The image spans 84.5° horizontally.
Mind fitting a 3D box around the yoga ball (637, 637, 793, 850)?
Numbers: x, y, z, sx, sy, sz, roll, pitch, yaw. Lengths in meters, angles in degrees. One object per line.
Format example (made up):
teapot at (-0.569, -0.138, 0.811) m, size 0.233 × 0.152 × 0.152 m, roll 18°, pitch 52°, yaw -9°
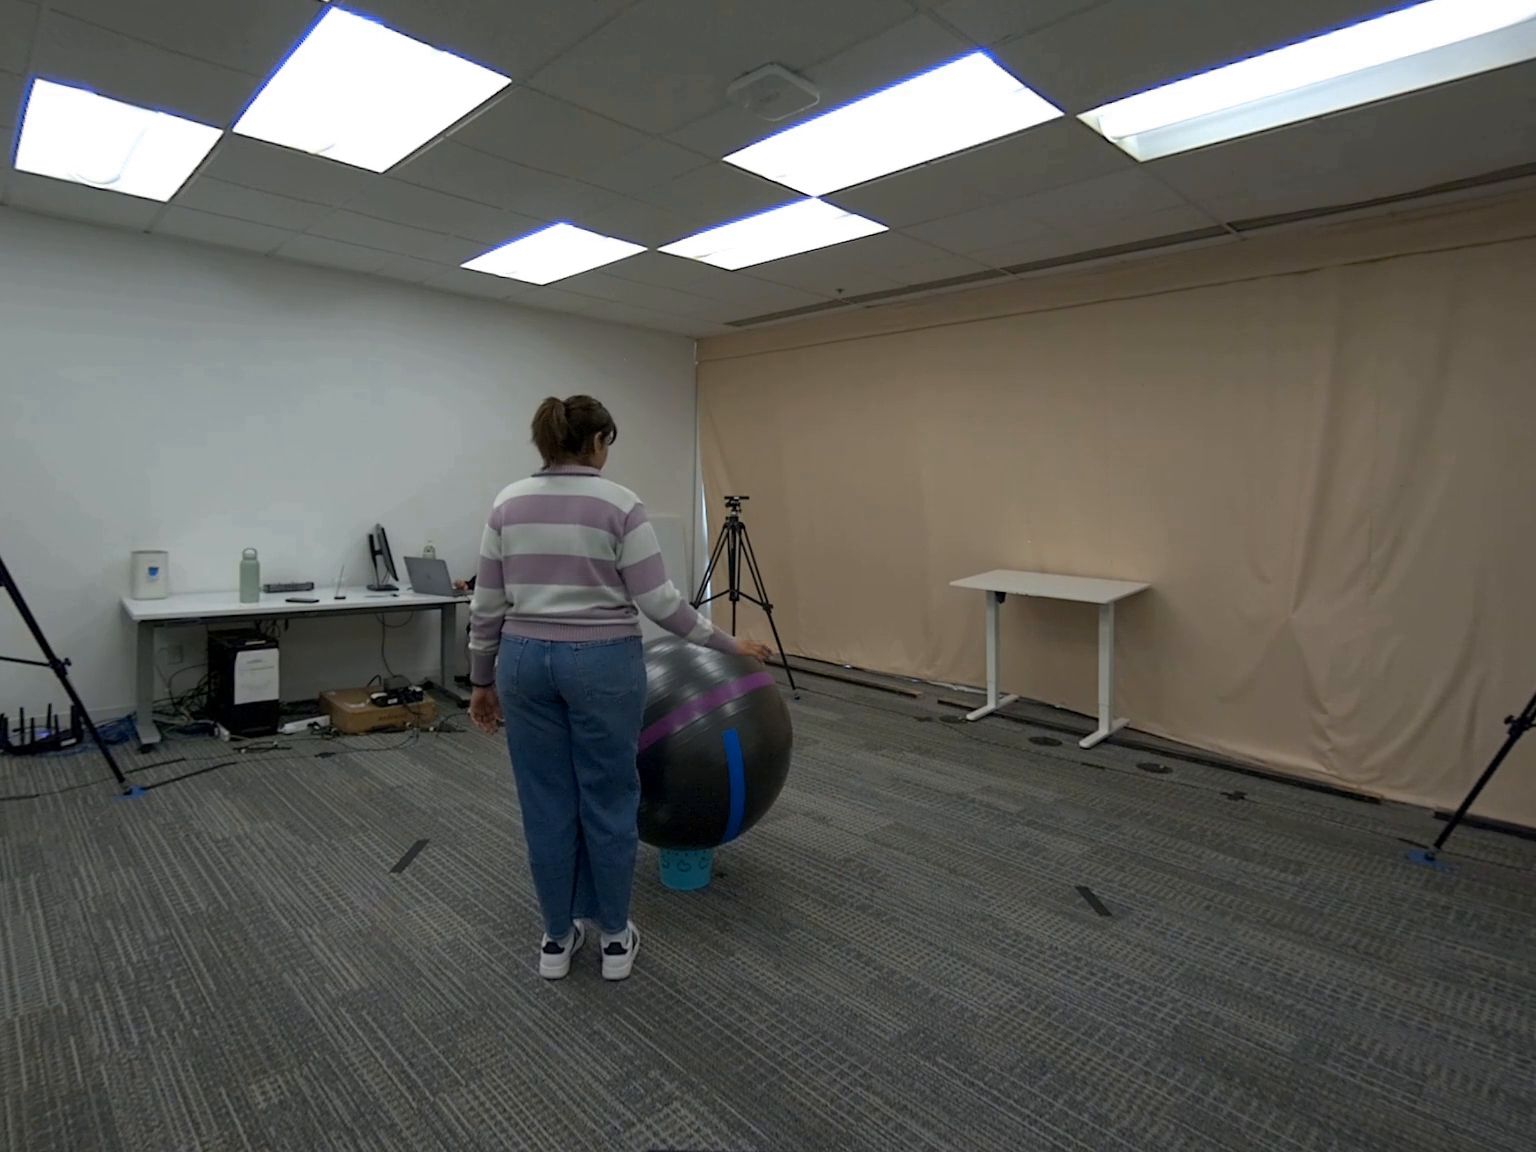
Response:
yoga ball at (-0.291, 0.596, 3.045) m, size 0.757 × 0.756 × 0.761 m, roll 1°, pitch 4°, yaw -1°
